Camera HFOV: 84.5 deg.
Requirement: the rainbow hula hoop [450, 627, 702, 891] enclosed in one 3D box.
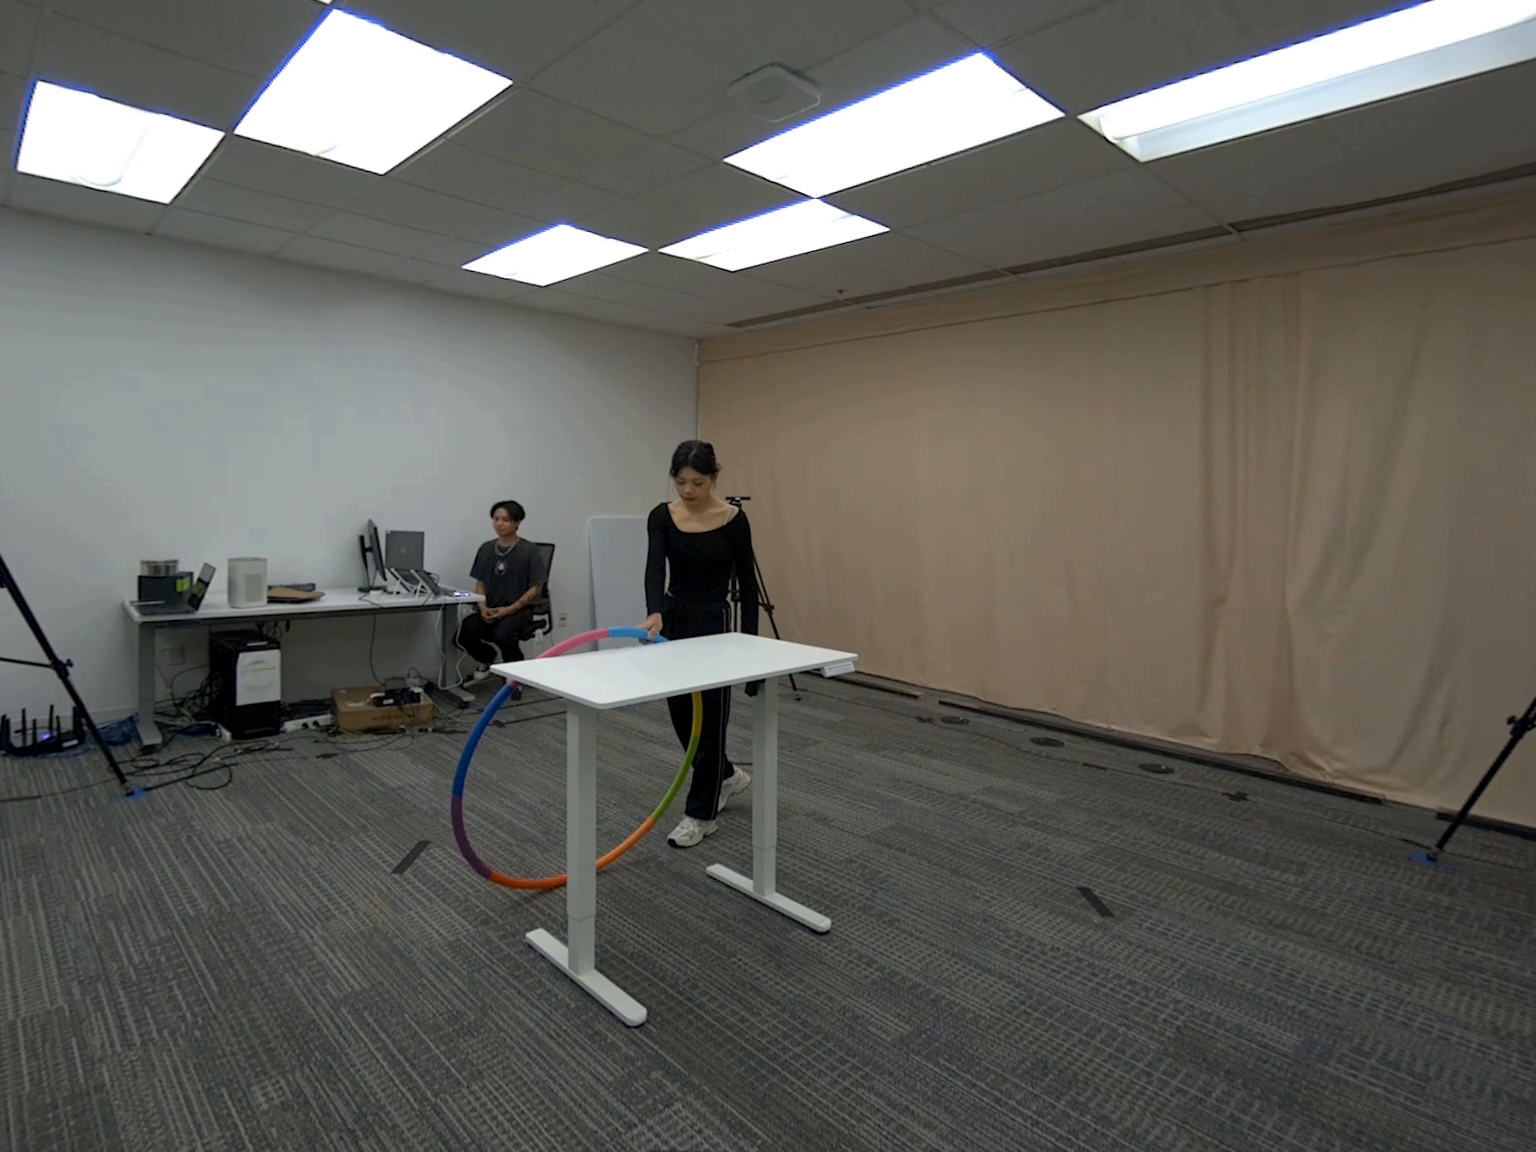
[{"bbox_3d":[-0.630,0.643,2.905,0.956,0.971,0.036,-3,21,-44],"label":"rainbow hula hoop"}]
